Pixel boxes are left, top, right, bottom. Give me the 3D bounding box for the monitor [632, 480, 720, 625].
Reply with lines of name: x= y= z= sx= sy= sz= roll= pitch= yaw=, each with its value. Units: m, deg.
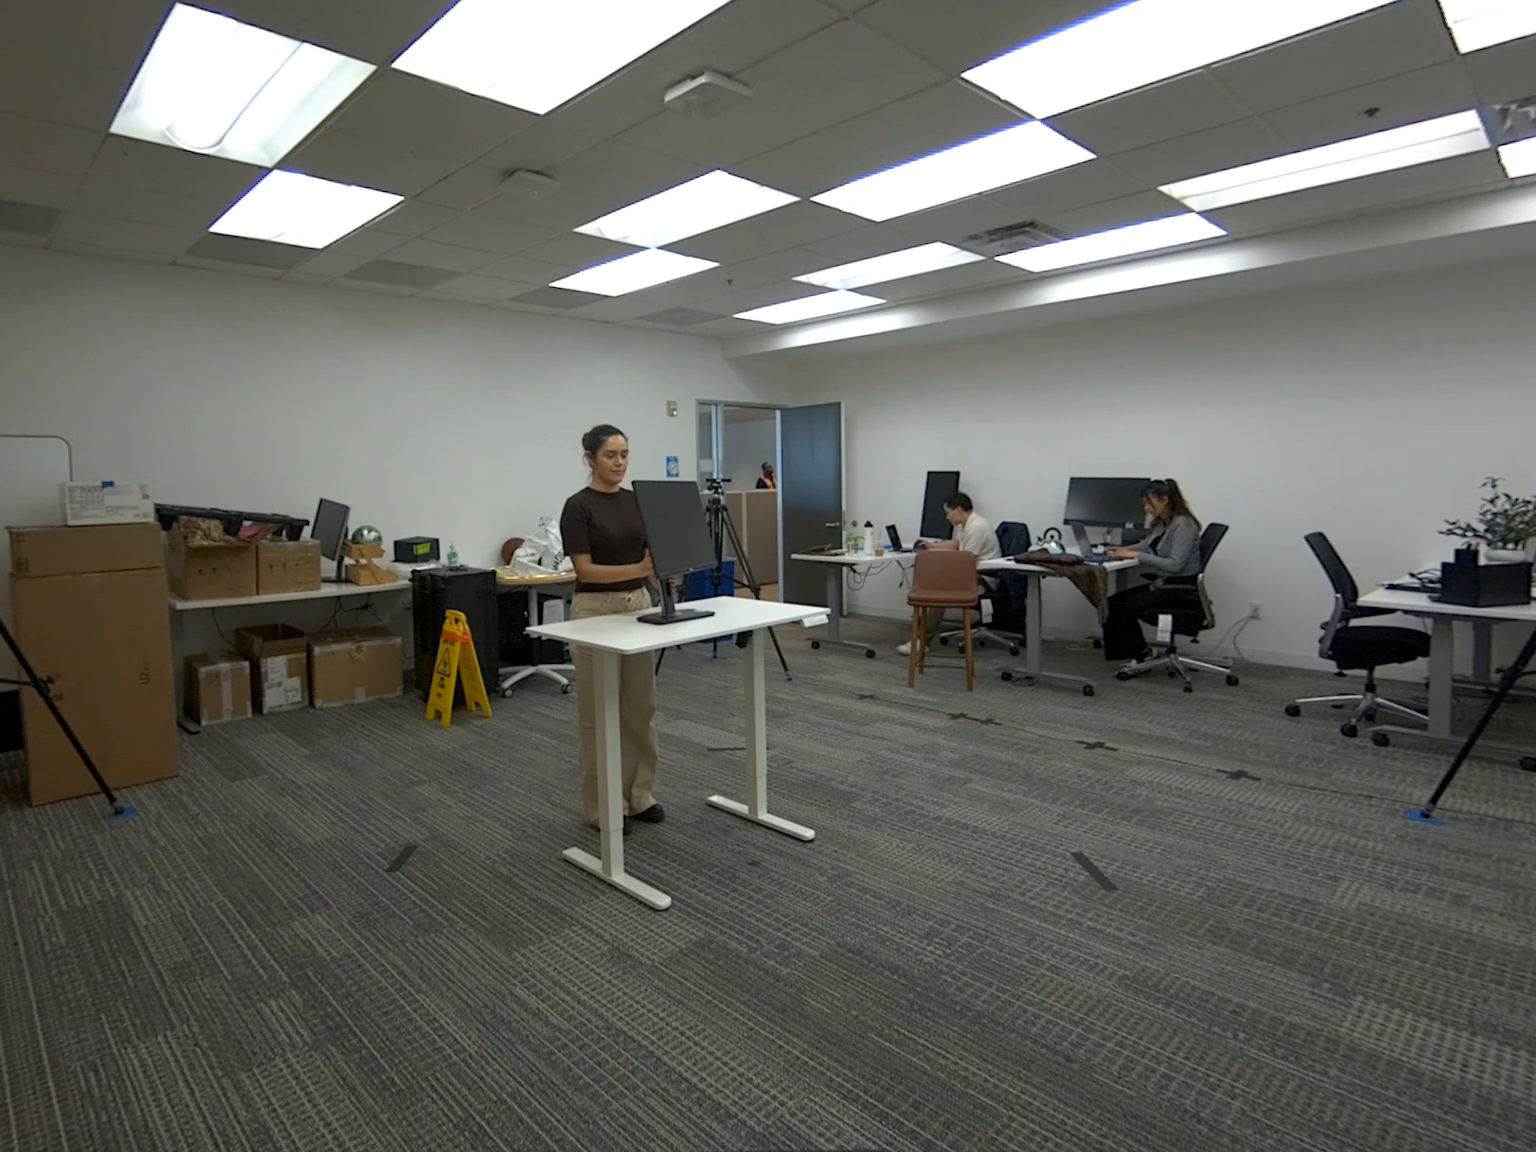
monitor: x=-0.357 y=-0.095 z=3.186 sx=0.190 sy=0.521 sz=0.531 roll=-1 pitch=4 yaw=18
